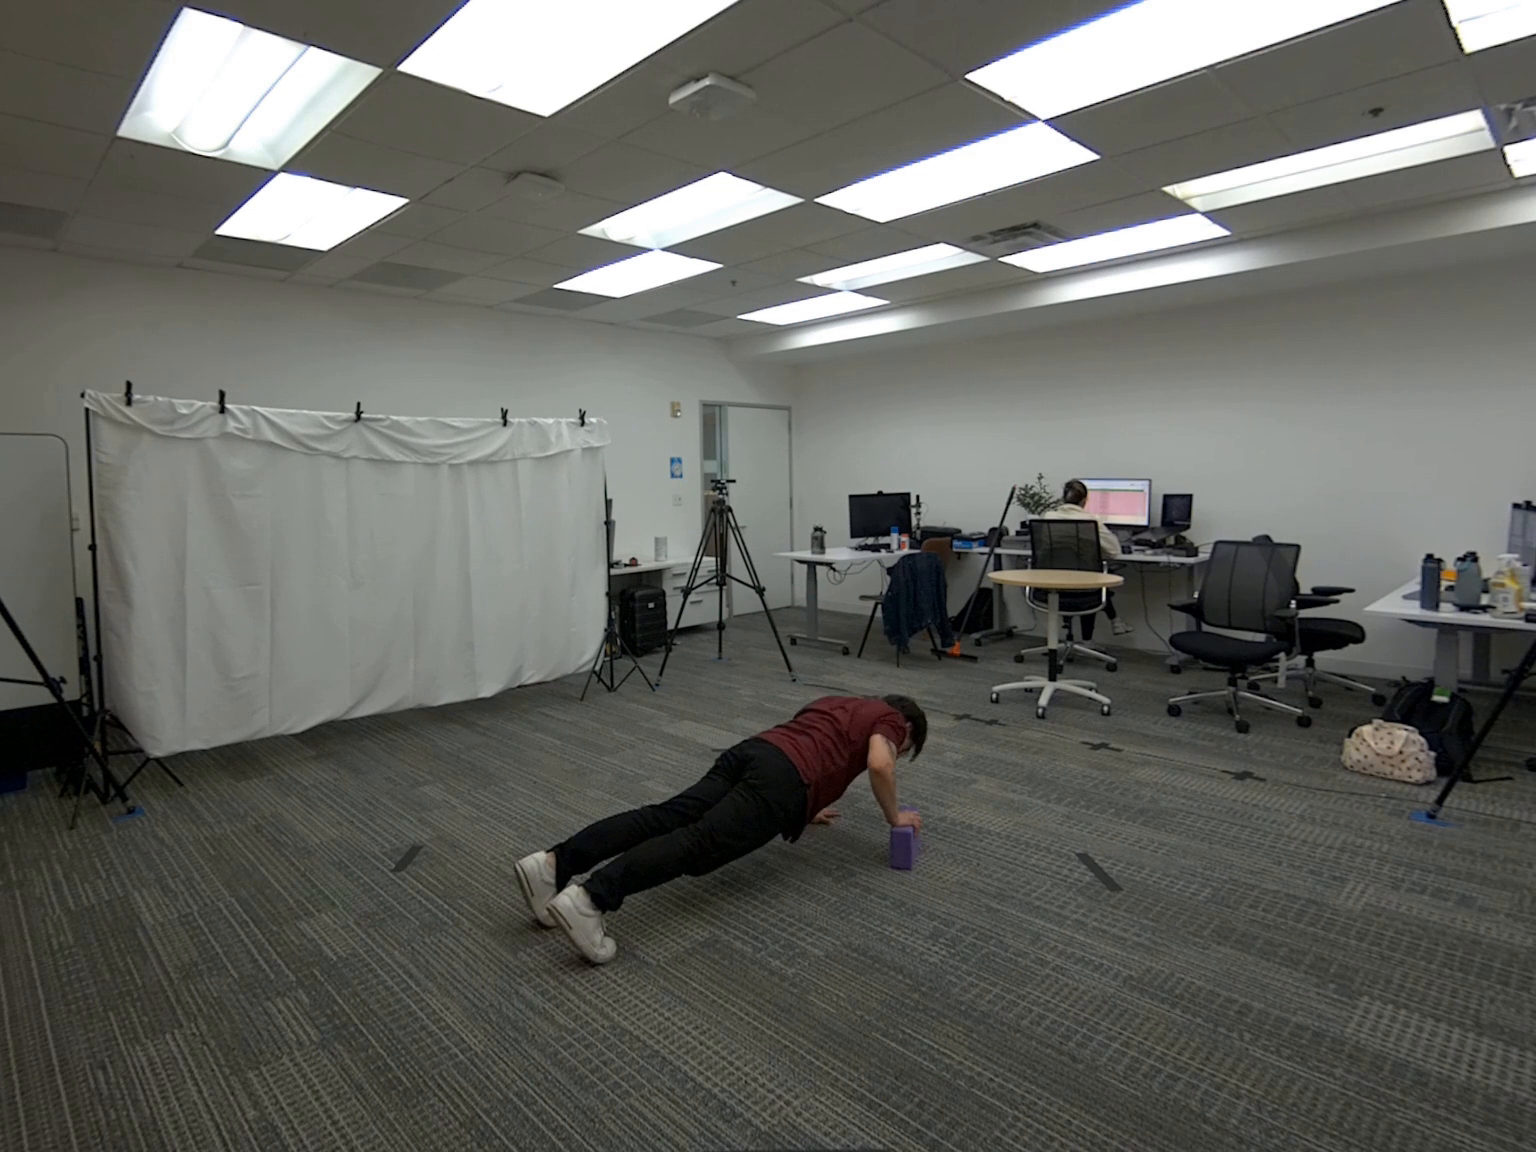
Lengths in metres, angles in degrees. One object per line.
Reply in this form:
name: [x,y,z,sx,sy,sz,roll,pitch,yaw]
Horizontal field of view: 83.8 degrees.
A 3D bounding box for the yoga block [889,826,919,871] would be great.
yoga block: [0.497,0.953,3.141,0.078,0.148,0.226,-2,7,18]
